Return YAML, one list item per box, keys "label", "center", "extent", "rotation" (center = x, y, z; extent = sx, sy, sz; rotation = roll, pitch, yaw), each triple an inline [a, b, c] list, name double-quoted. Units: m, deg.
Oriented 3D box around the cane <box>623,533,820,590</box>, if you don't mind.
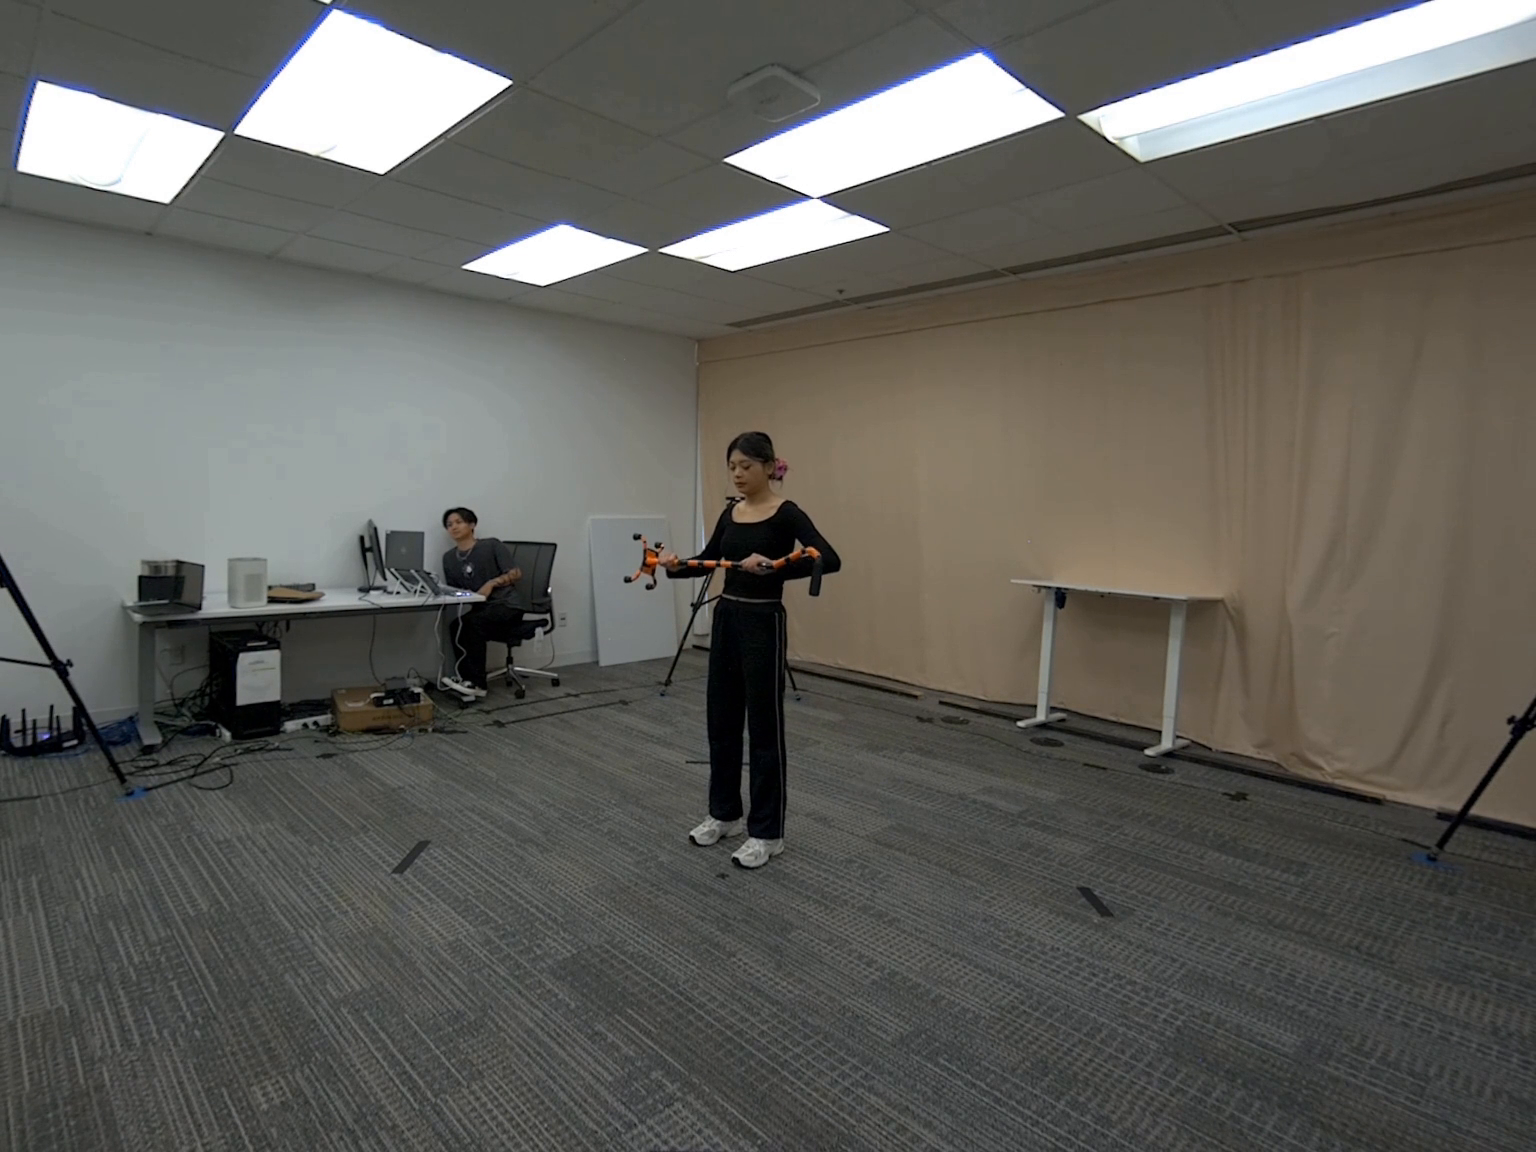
- label: "cane"
  center: [-0.171, -0.045, 3.102]
  extent: [0.930, 0.207, 0.147]
  rotation: [4, -9, 42]
